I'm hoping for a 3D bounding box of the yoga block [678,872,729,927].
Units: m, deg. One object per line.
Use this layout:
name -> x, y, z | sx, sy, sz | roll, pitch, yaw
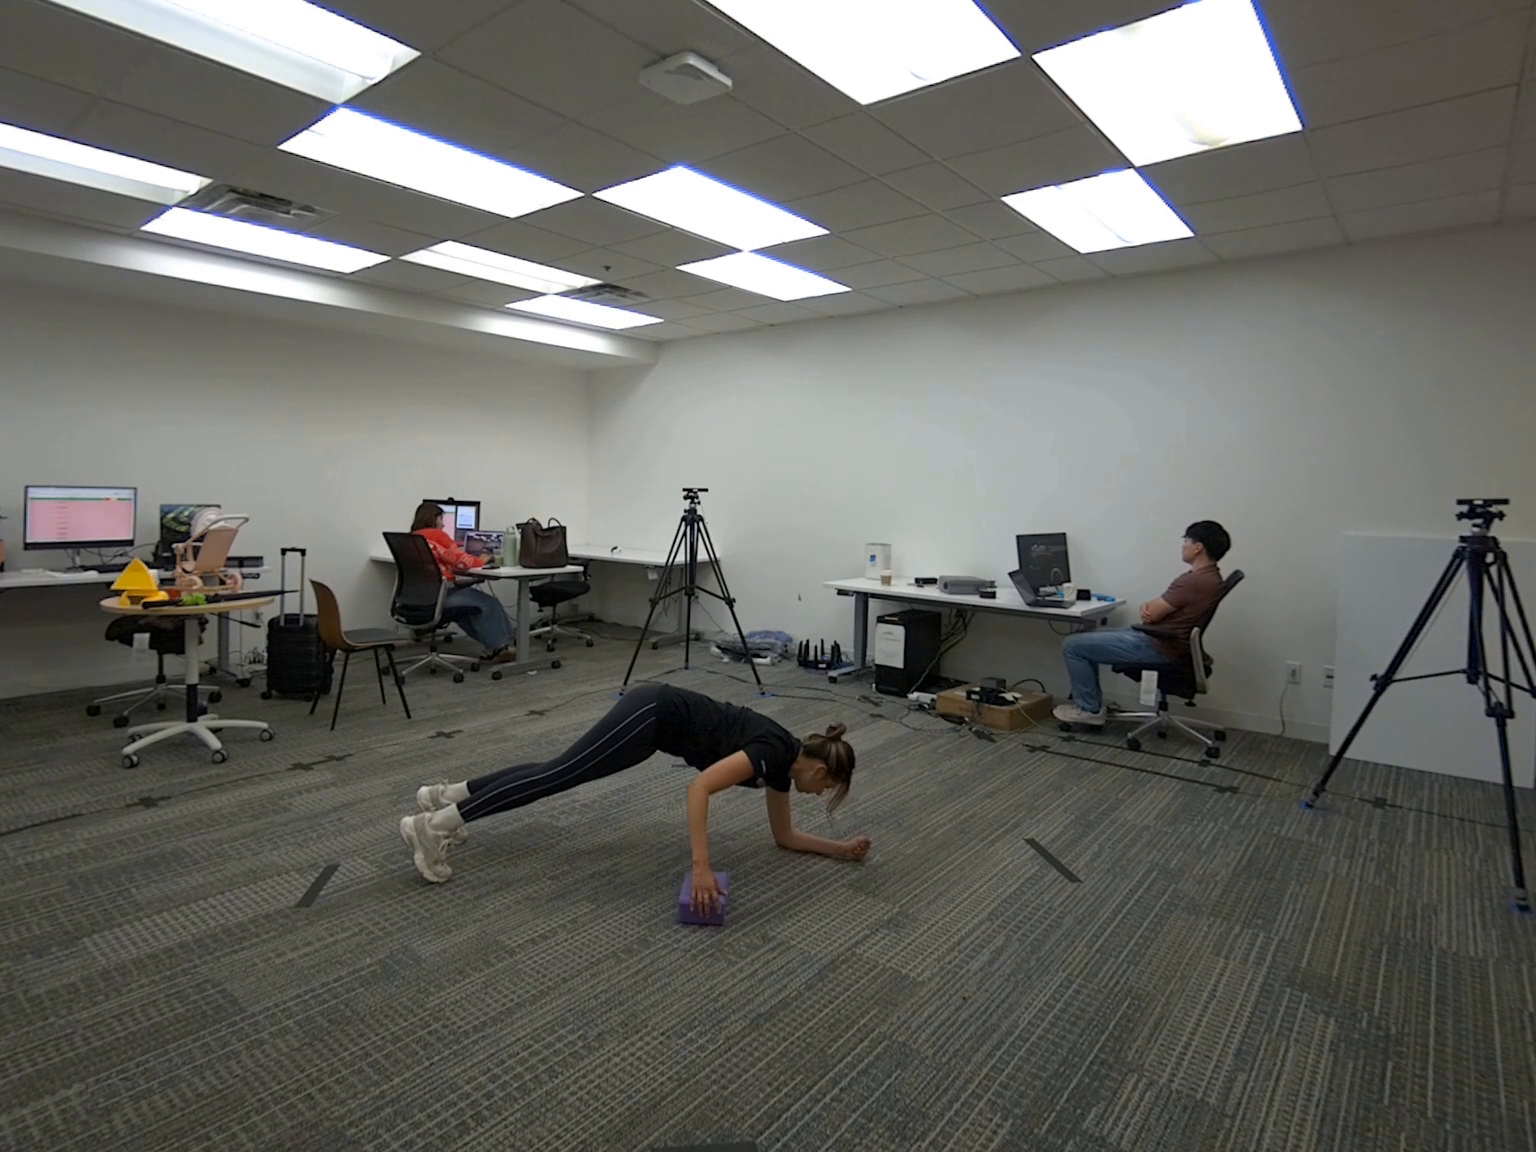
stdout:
yoga block -> -0.220, 1.053, 2.813 | 0.149, 0.076, 0.229 | 1, 6, 2
